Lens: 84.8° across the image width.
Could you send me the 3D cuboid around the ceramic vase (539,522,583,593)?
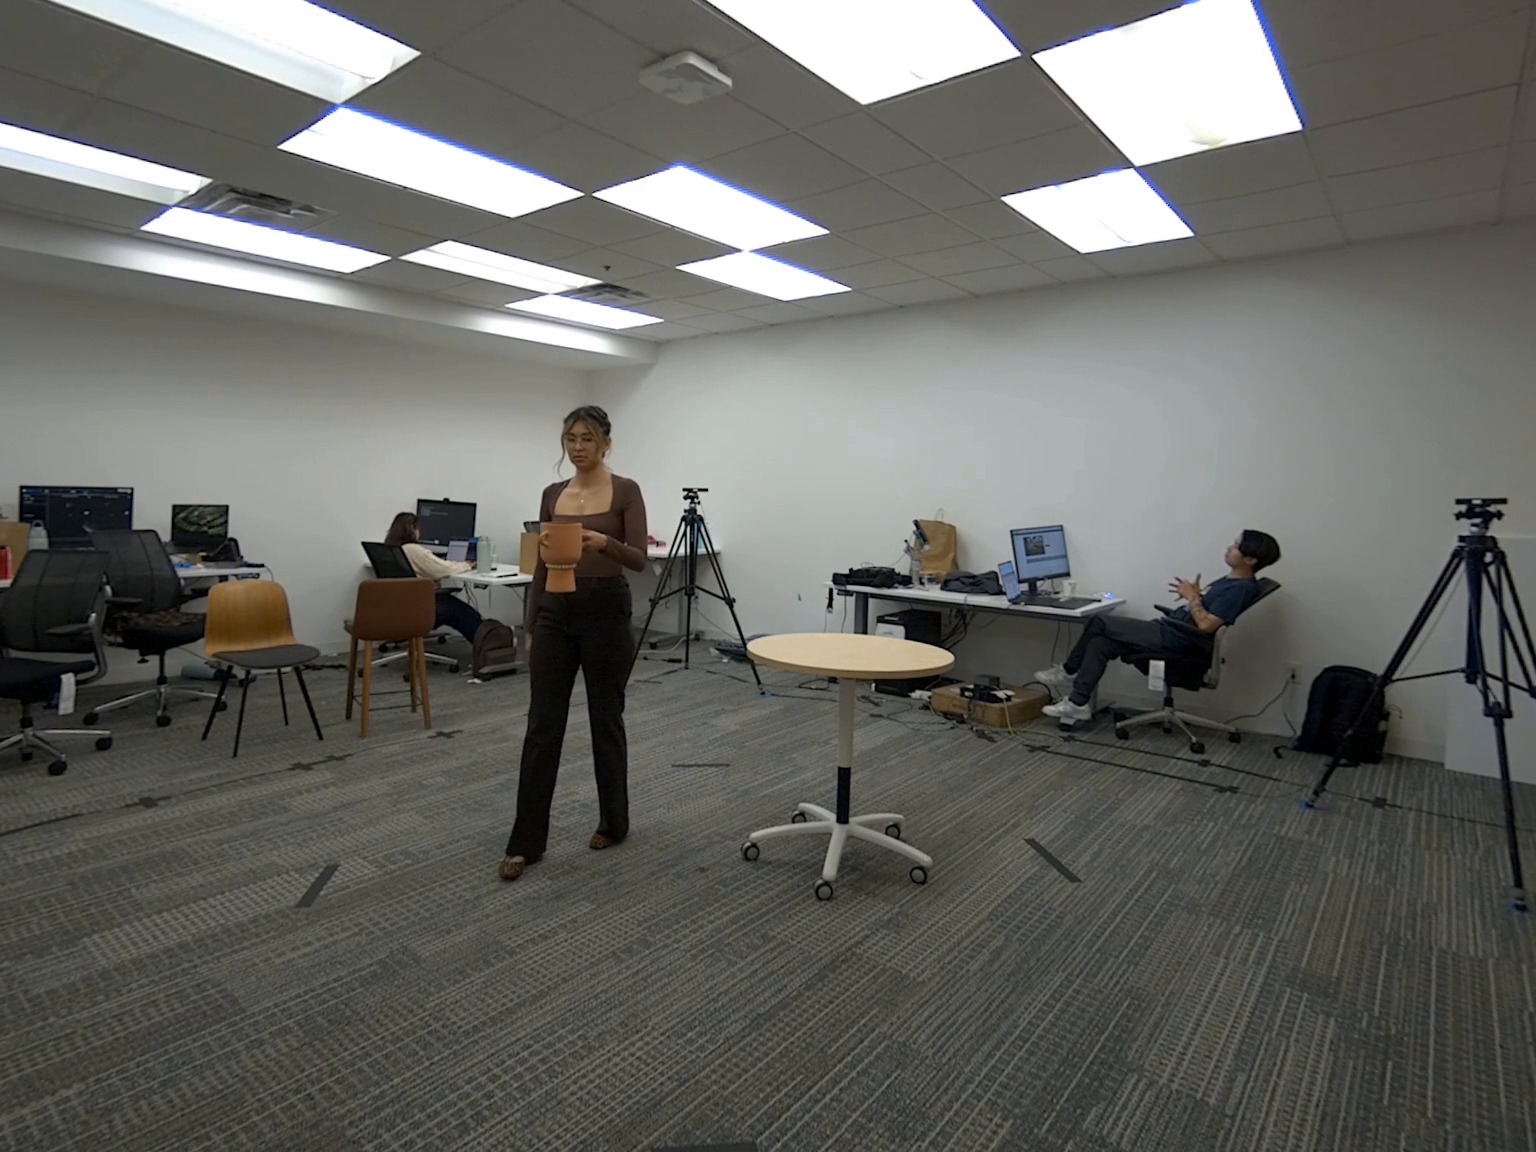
[{"bbox_3d":[-0.686,-0.067,2.776,0.155,0.219,0.138,-2,4,-22],"label":"ceramic vase"}]
